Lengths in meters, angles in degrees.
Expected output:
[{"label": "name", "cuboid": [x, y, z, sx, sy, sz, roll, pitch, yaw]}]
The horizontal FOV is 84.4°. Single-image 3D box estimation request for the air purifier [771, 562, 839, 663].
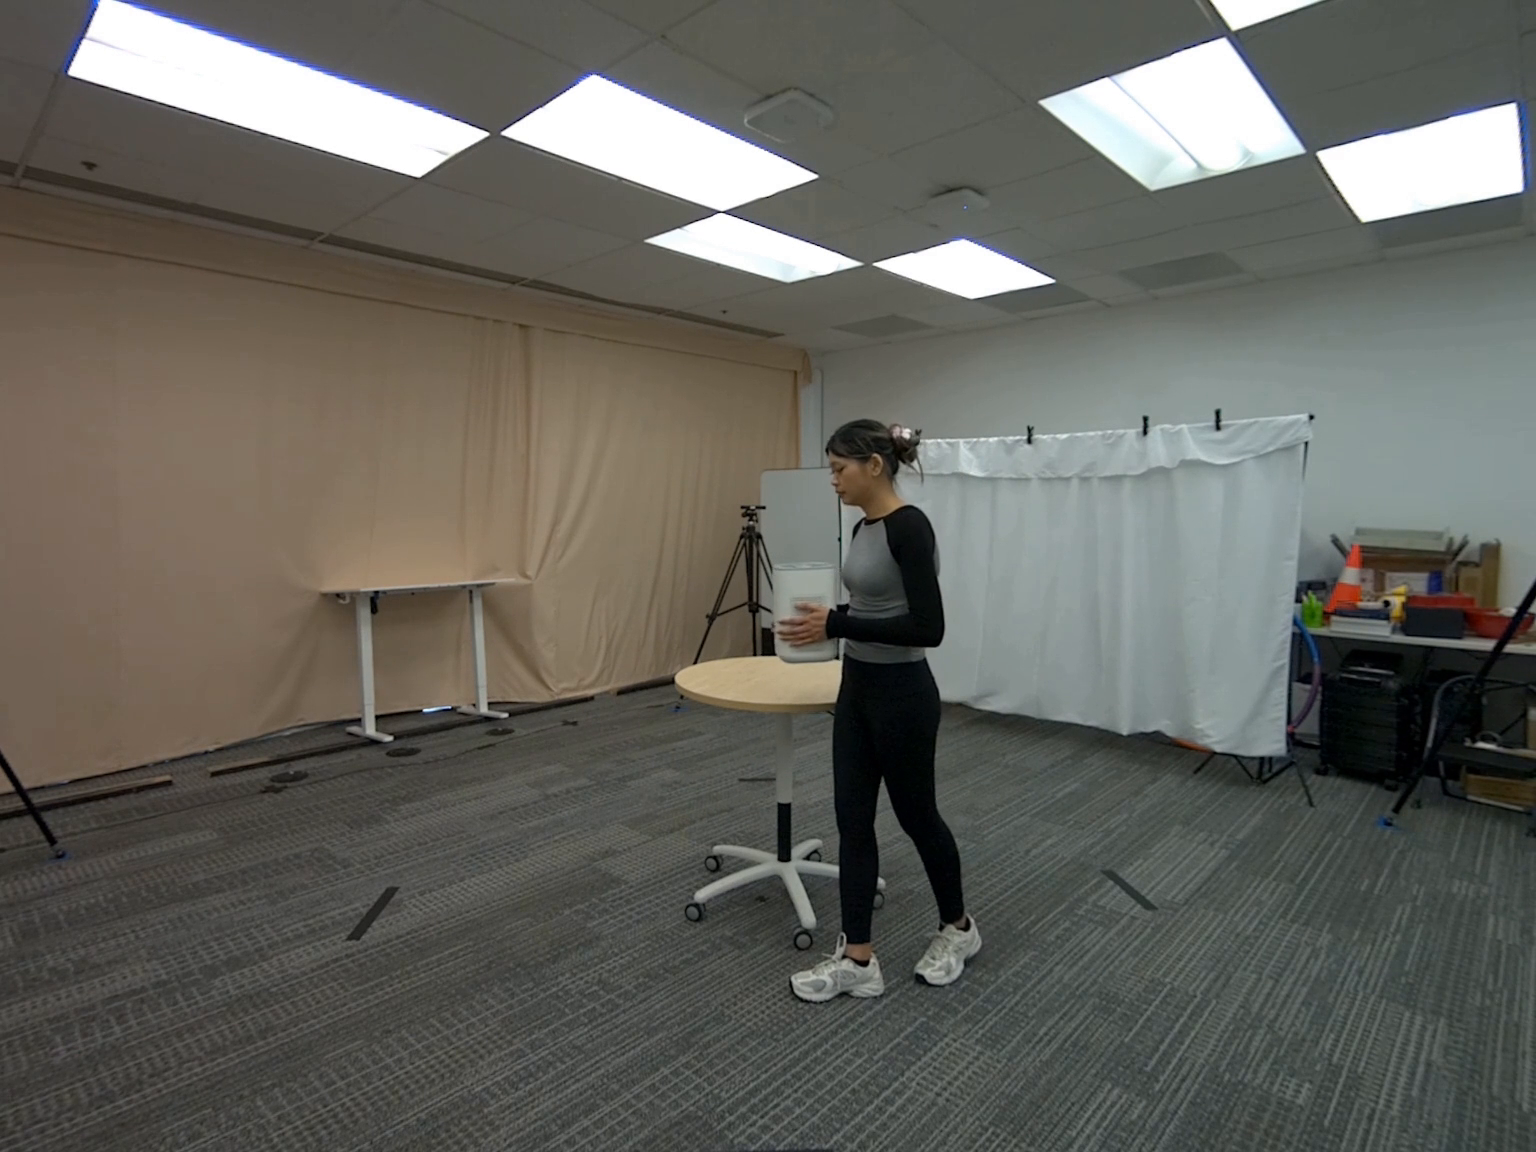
[{"label": "air purifier", "cuboid": [0.111, 0.105, 2.373, 0.171, 0.265, 0.171, -2, 4, -1]}]
